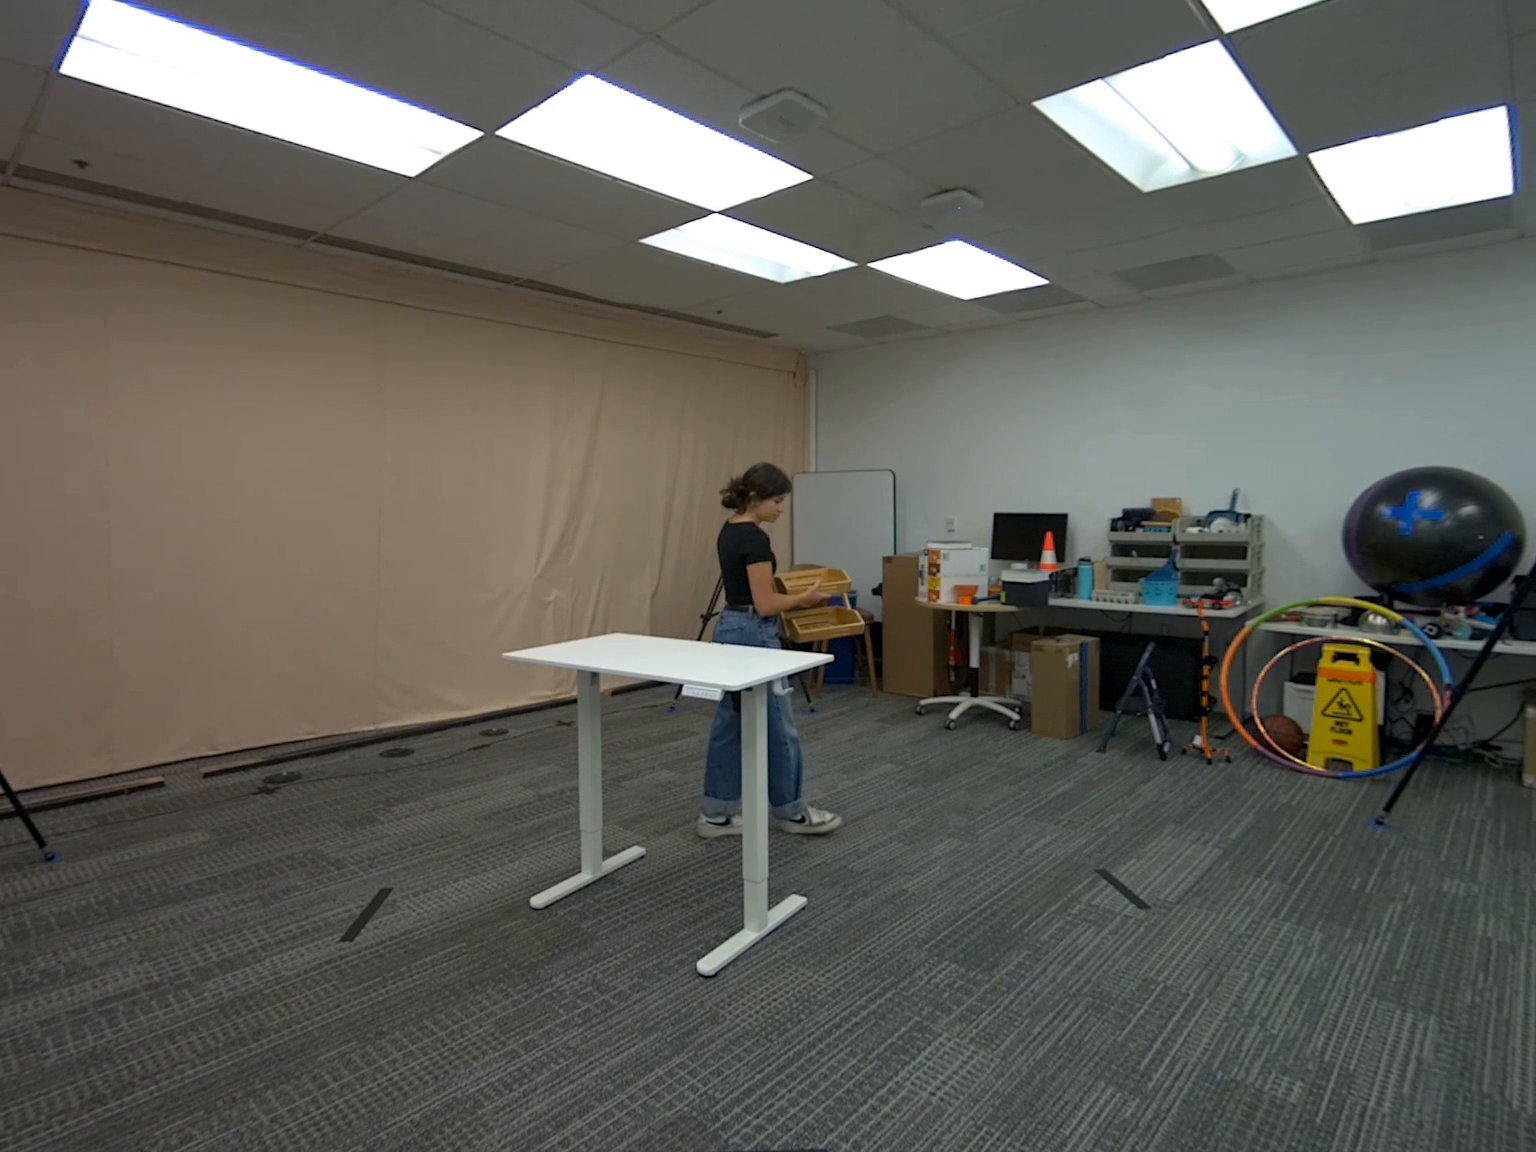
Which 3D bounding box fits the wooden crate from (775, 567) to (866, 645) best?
[{"bbox_3d":[0.212,0.114,3.602,0.318,0.272,0.309,-6,5,-21],"label":"wooden crate"}]
